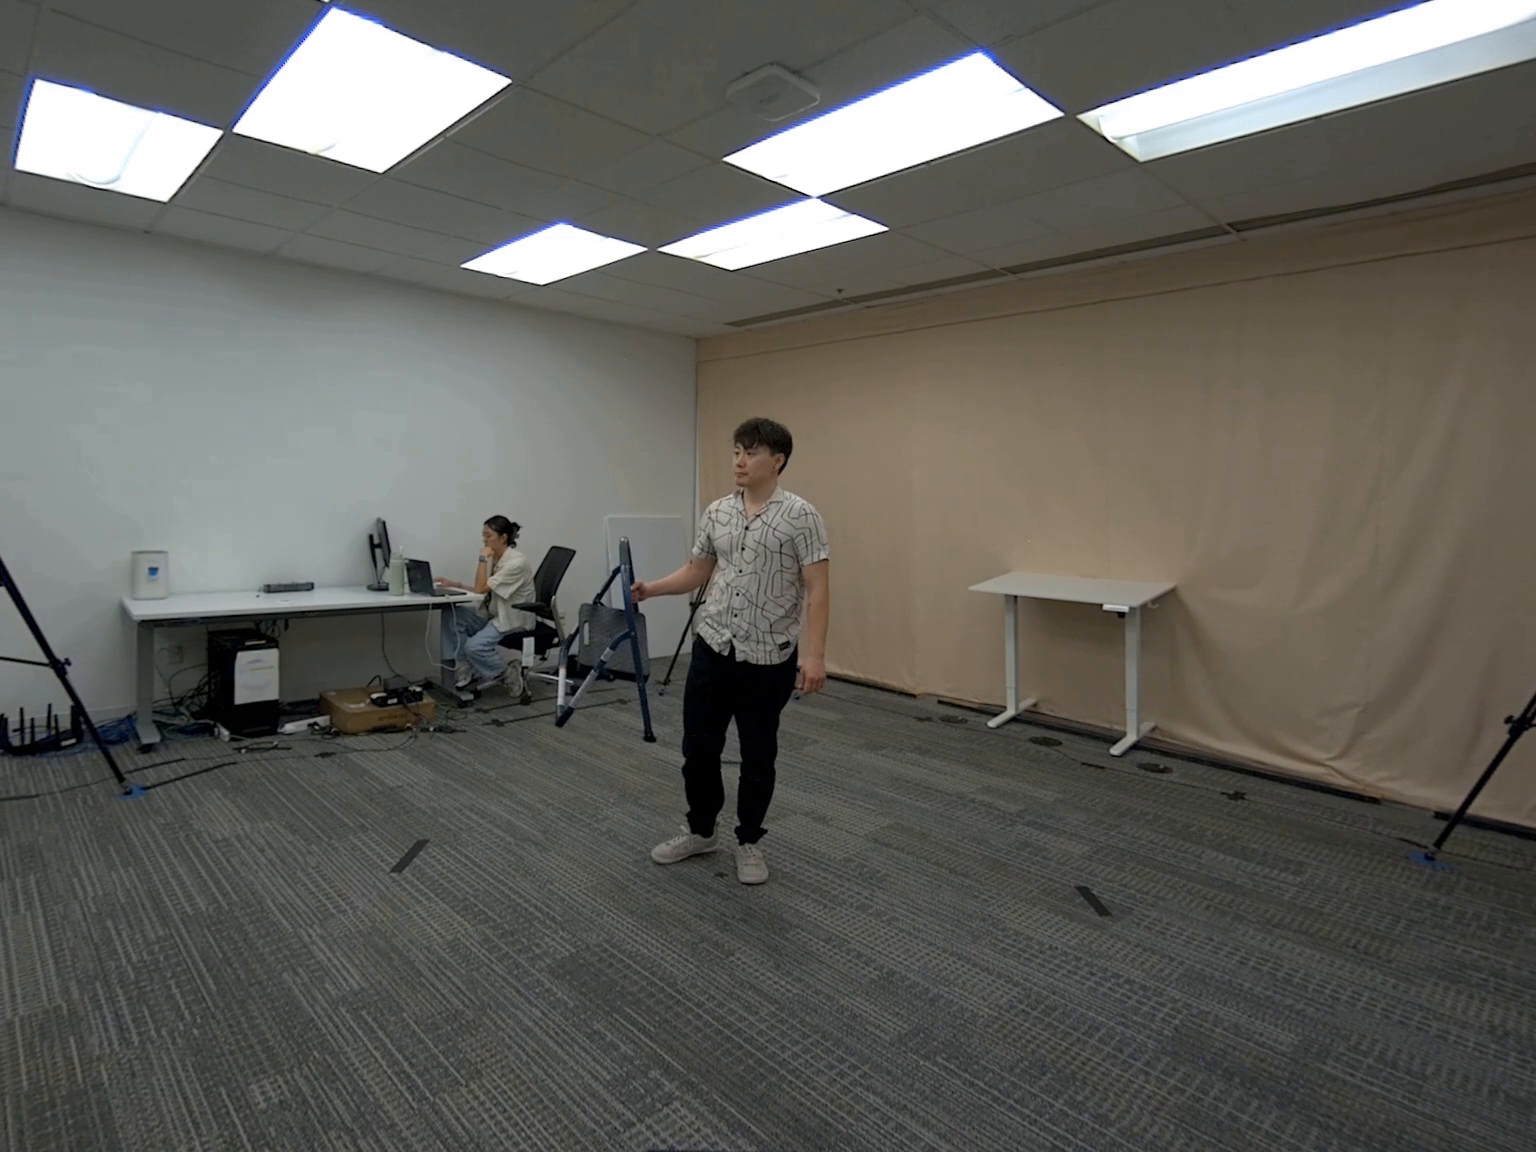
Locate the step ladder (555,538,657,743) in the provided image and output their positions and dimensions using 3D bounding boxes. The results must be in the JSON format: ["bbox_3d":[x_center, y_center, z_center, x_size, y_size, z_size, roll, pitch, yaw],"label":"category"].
[{"bbox_3d":[-0.501,0.185,2.903,0.344,0.600,0.442,11,29,-19],"label":"step ladder"}]
